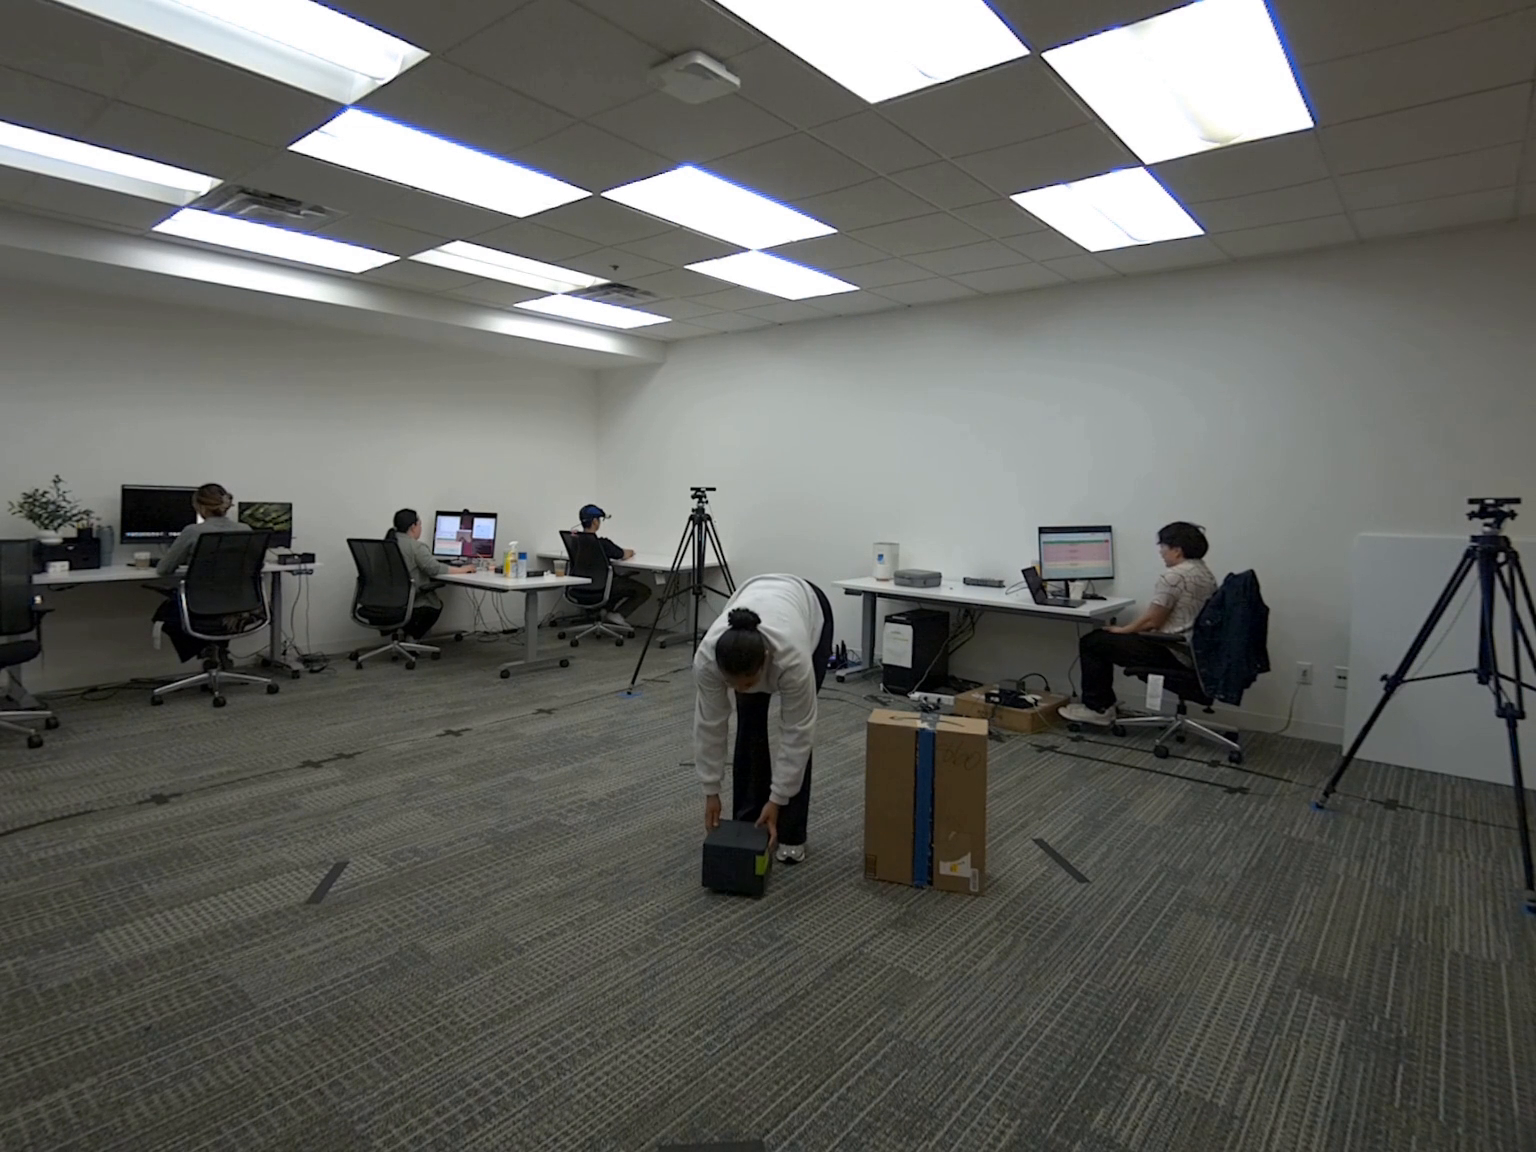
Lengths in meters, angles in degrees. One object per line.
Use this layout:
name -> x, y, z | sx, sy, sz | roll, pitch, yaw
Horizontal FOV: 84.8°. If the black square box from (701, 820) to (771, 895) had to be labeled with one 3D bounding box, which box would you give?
black square box -> -0.112, 0.966, 3.000 | 0.219, 0.155, 0.226 | 2, 5, 9
